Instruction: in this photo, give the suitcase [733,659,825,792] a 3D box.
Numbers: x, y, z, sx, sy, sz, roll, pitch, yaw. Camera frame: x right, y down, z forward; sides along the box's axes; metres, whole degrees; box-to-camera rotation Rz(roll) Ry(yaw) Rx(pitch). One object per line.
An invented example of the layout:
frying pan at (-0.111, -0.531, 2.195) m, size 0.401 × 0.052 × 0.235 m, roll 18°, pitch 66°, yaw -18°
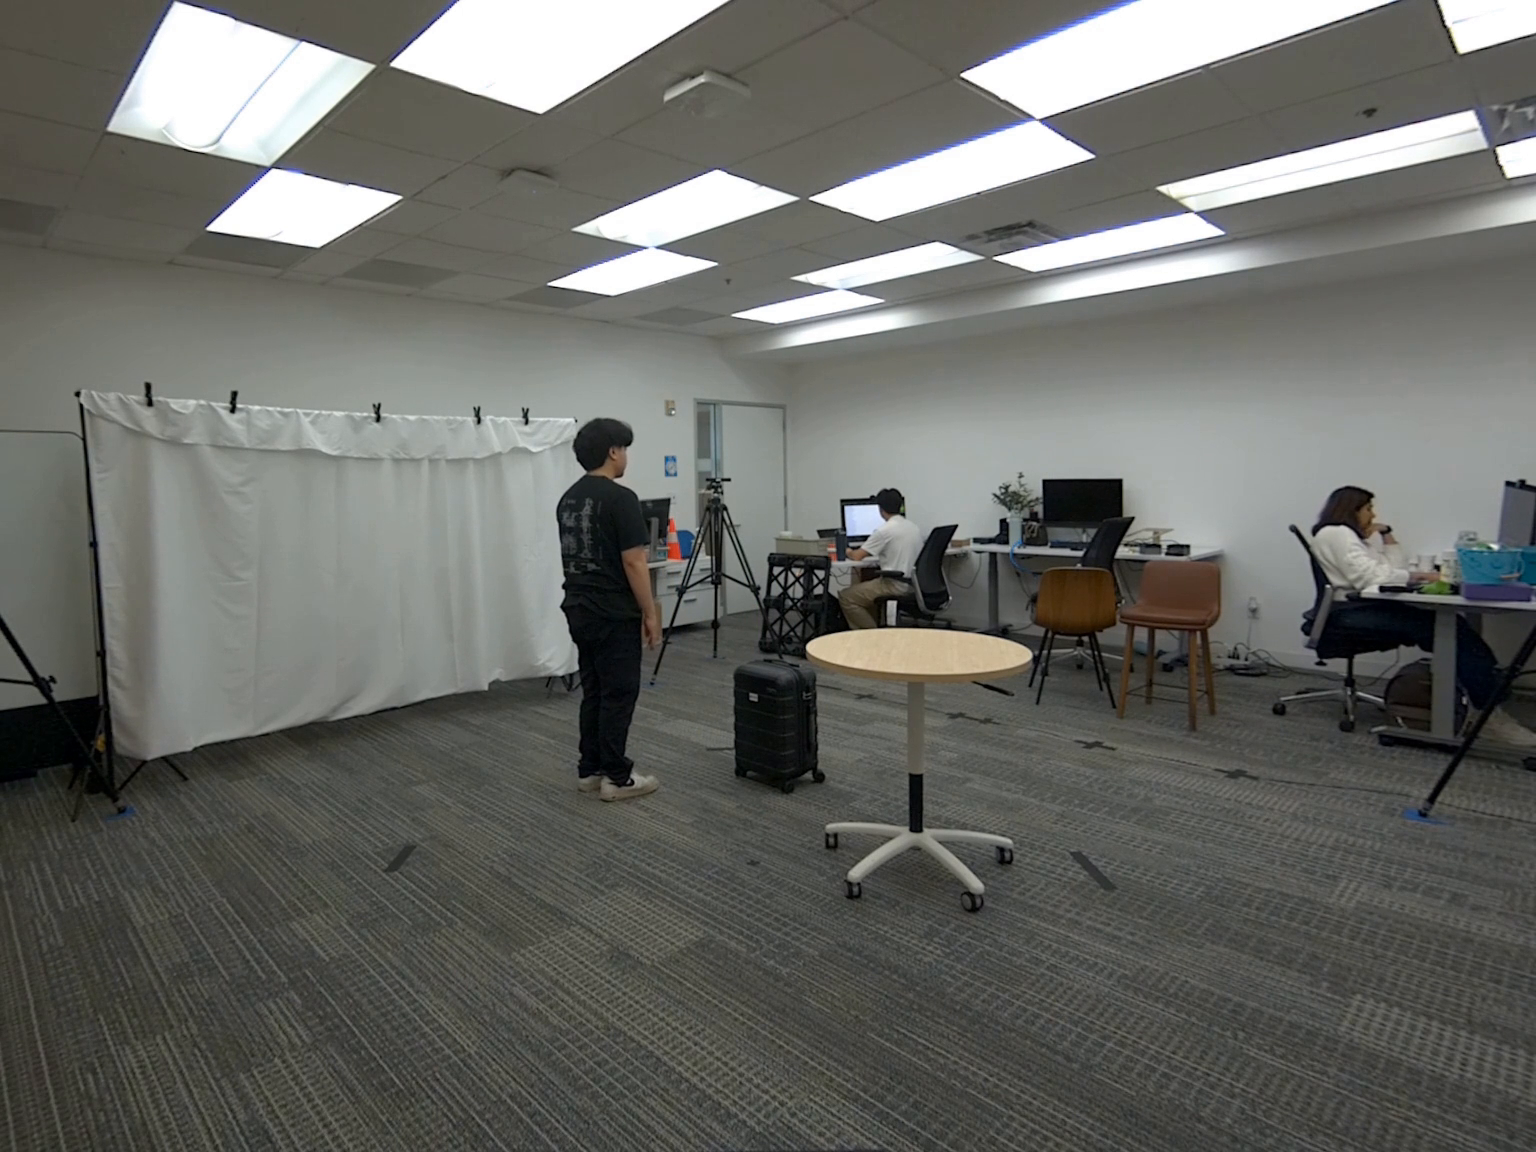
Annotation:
suitcase at (0.029, 0.670, 3.946) m, size 0.387 × 0.547 × 0.242 m, roll 3°, pitch 7°, yaw 45°
